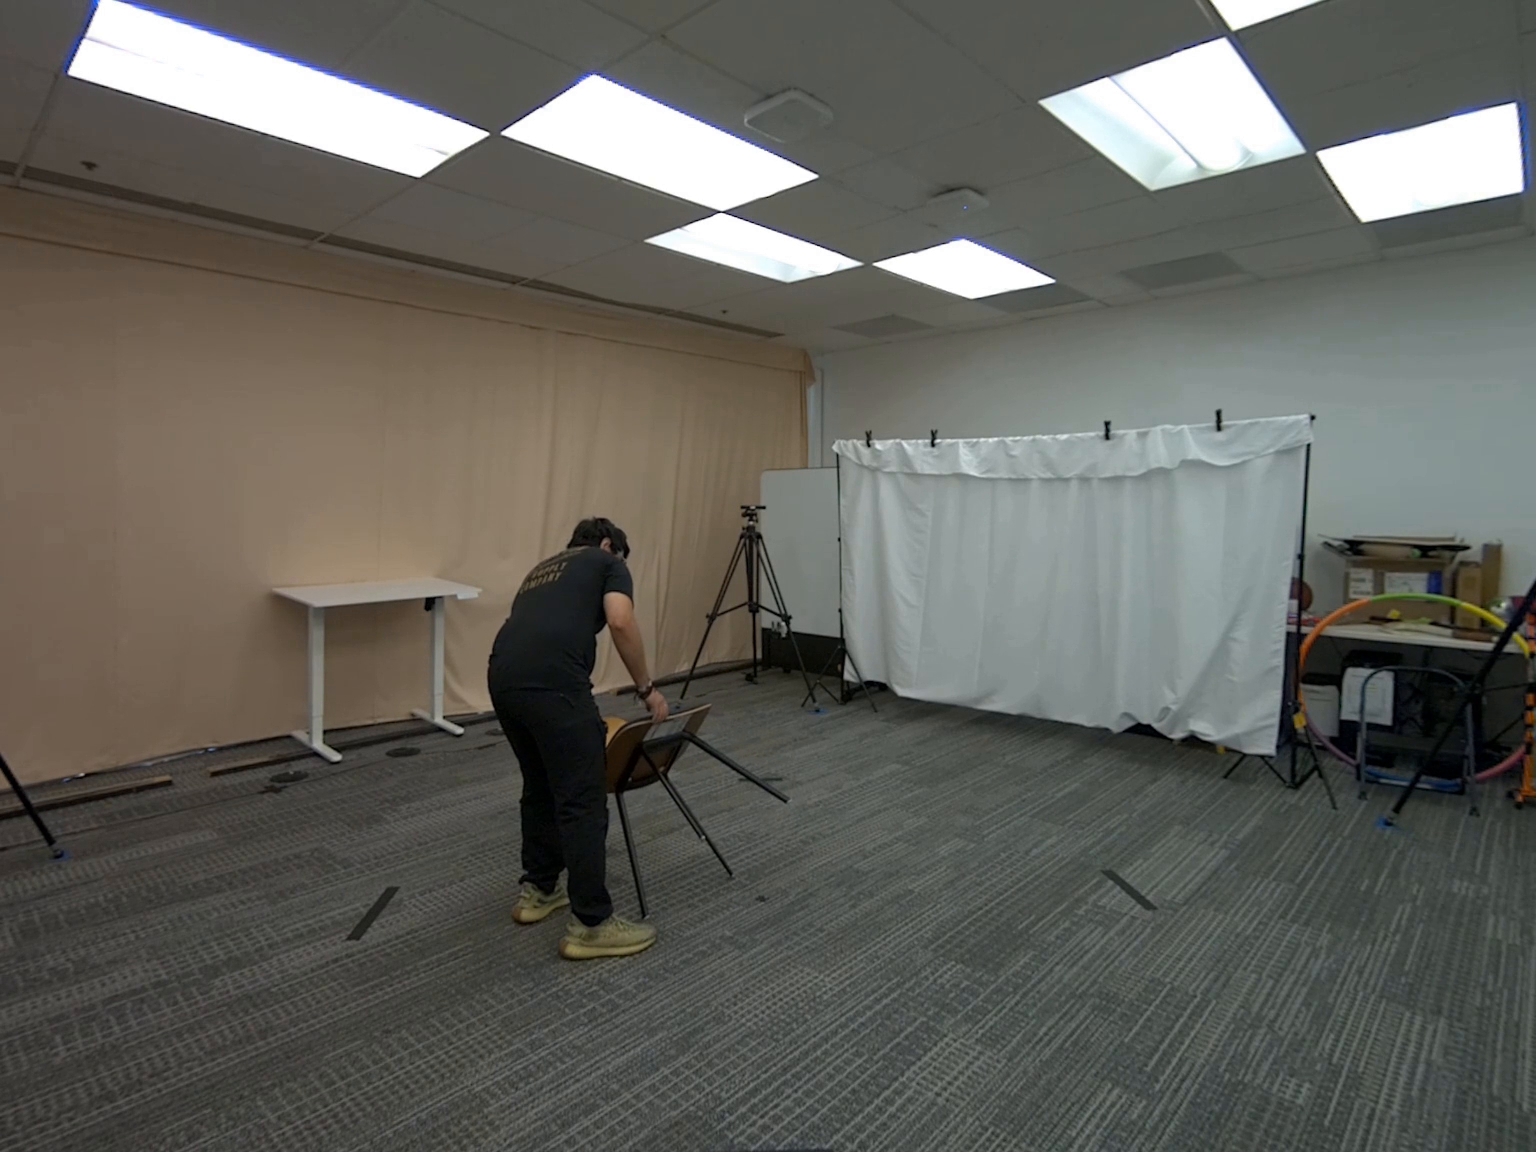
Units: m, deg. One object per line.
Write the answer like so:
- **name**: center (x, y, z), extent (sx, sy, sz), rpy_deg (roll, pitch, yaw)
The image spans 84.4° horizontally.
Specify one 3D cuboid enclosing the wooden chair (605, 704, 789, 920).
- **wooden chair**: center (-0.421, 0.694, 3.111), extent (0.464, 0.522, 0.906), rpy_deg (-5, 39, -48)
